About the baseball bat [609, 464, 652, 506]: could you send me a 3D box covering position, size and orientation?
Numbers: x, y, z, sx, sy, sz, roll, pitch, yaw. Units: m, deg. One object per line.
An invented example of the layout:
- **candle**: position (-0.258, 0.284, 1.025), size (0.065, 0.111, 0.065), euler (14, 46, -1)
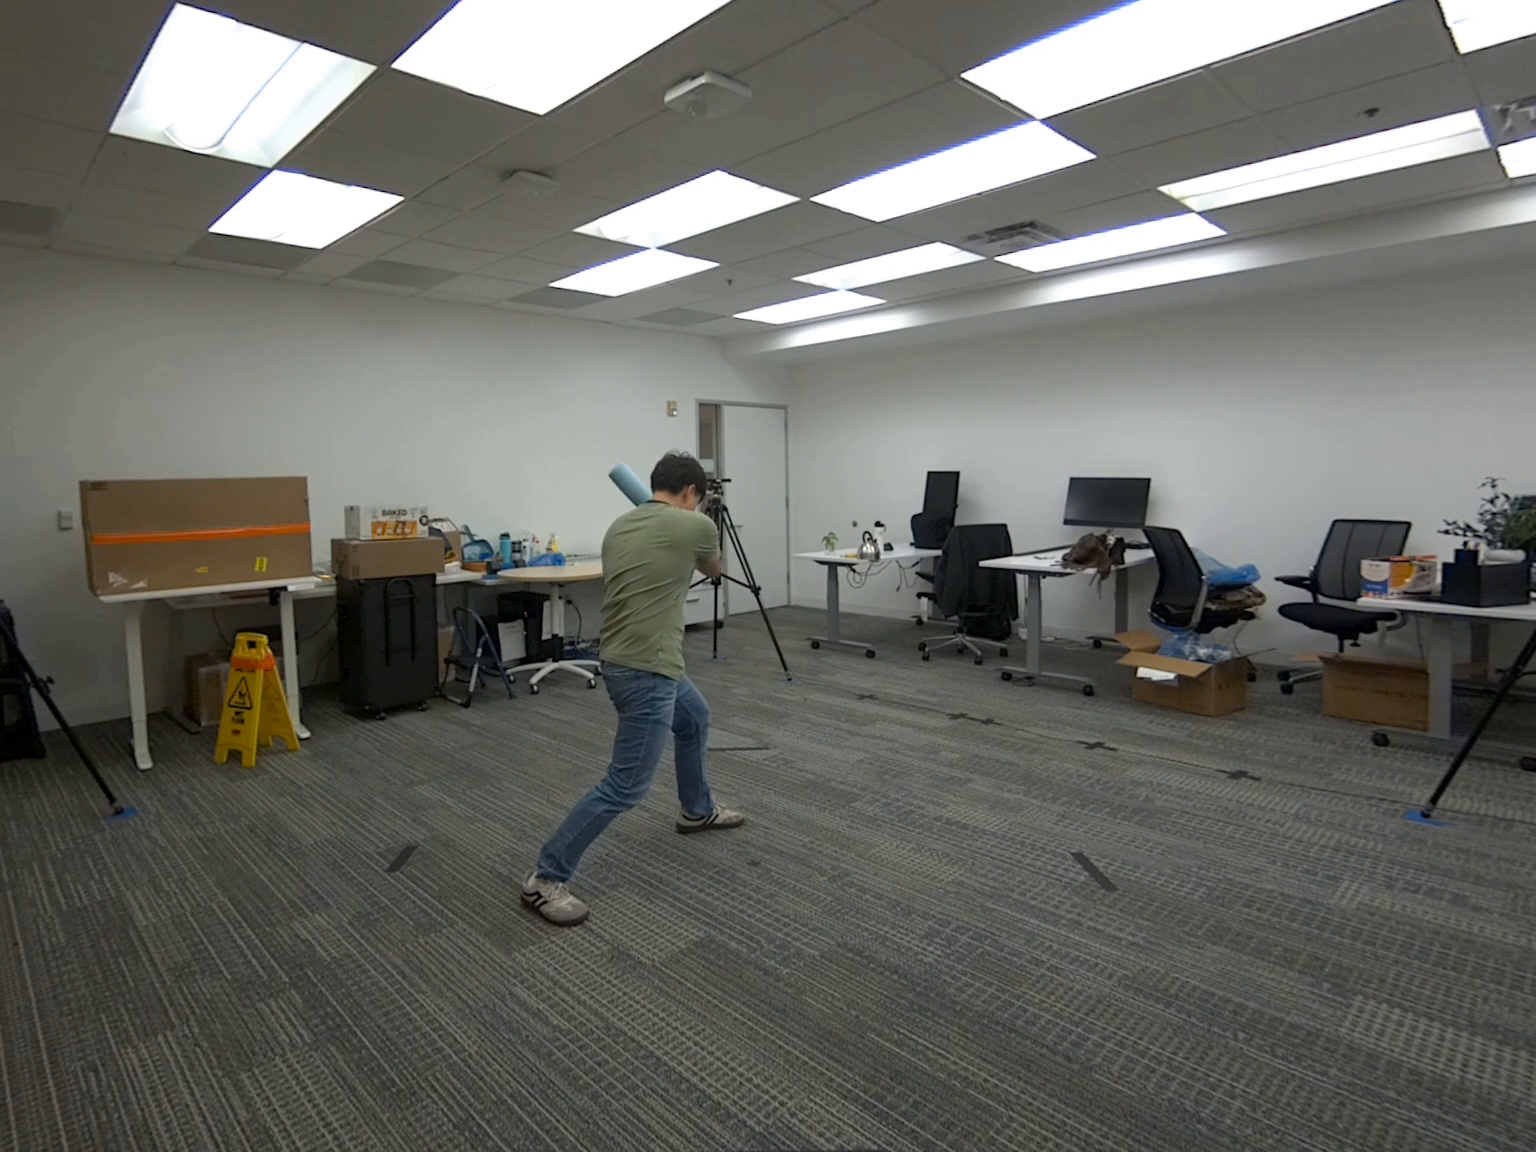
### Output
- **baseball bat**: position (-0.438, -0.231, 3.485), size (0.089, 0.541, 0.089), euler (-41, 2, 2)
